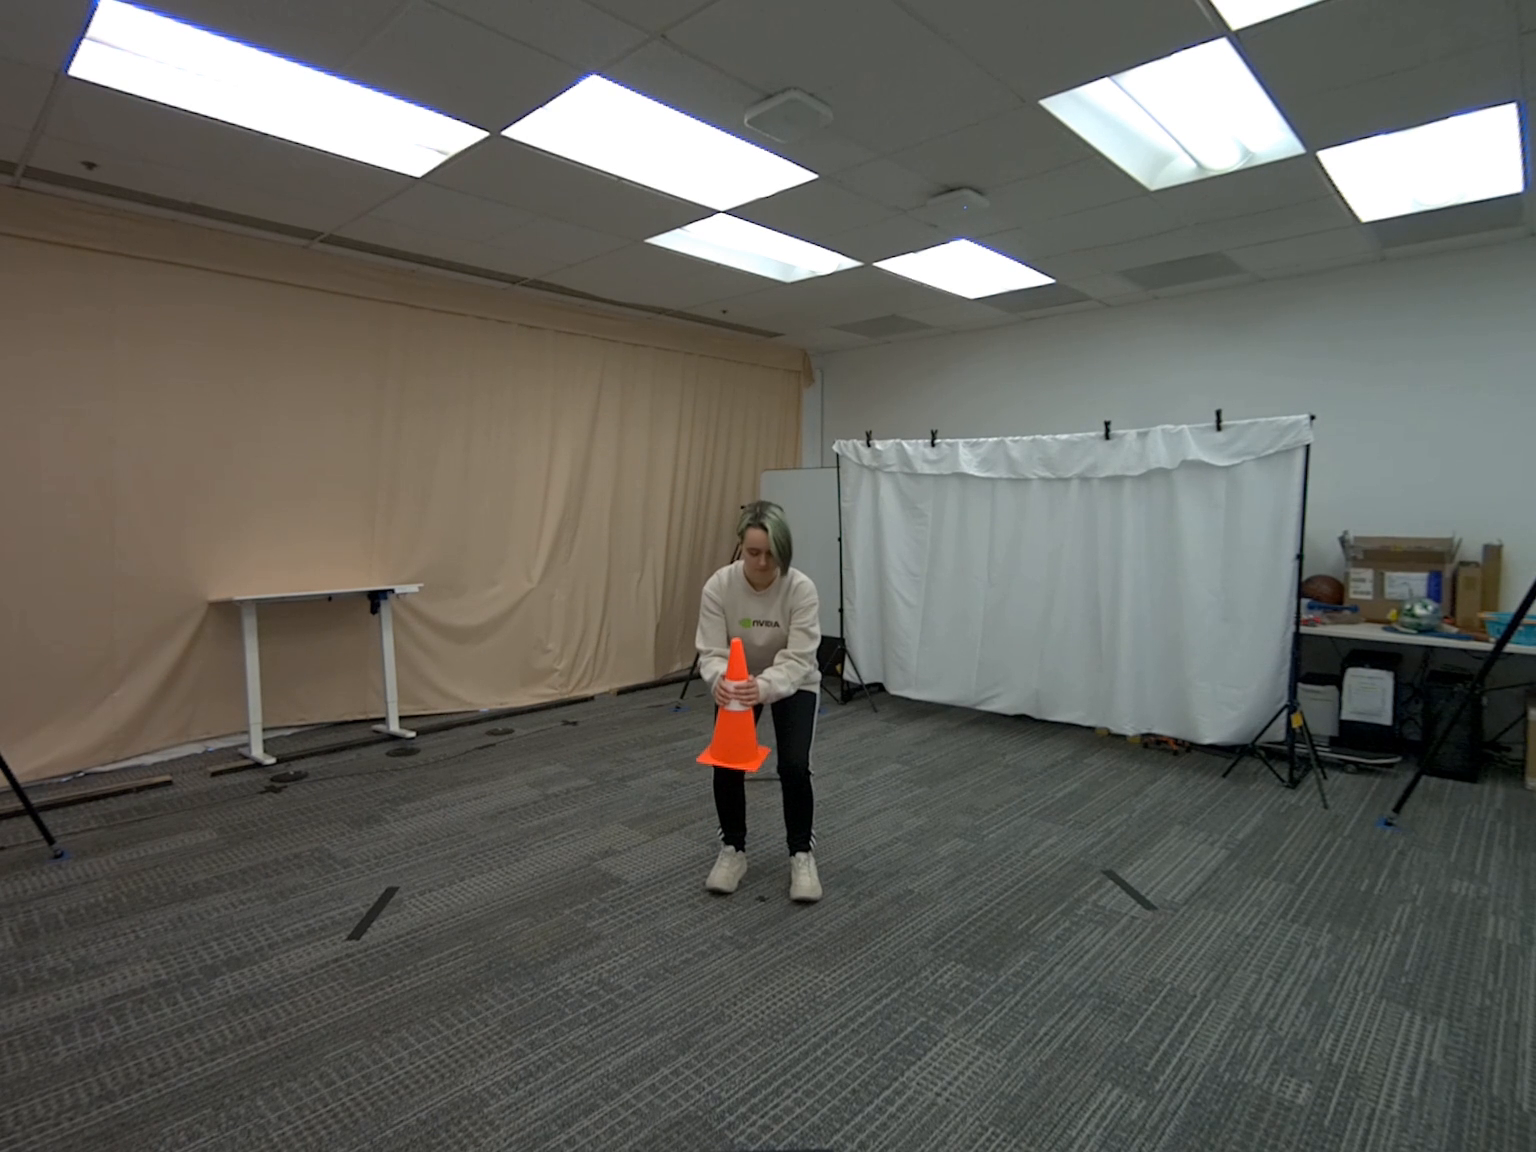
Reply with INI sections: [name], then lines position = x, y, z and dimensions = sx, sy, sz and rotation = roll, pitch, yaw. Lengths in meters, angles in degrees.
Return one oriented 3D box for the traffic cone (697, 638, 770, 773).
[traffic cone]
position = -0.105, 0.385, 2.660
dimensions = 0.209, 0.382, 0.200
rotation = 2, 8, 18
